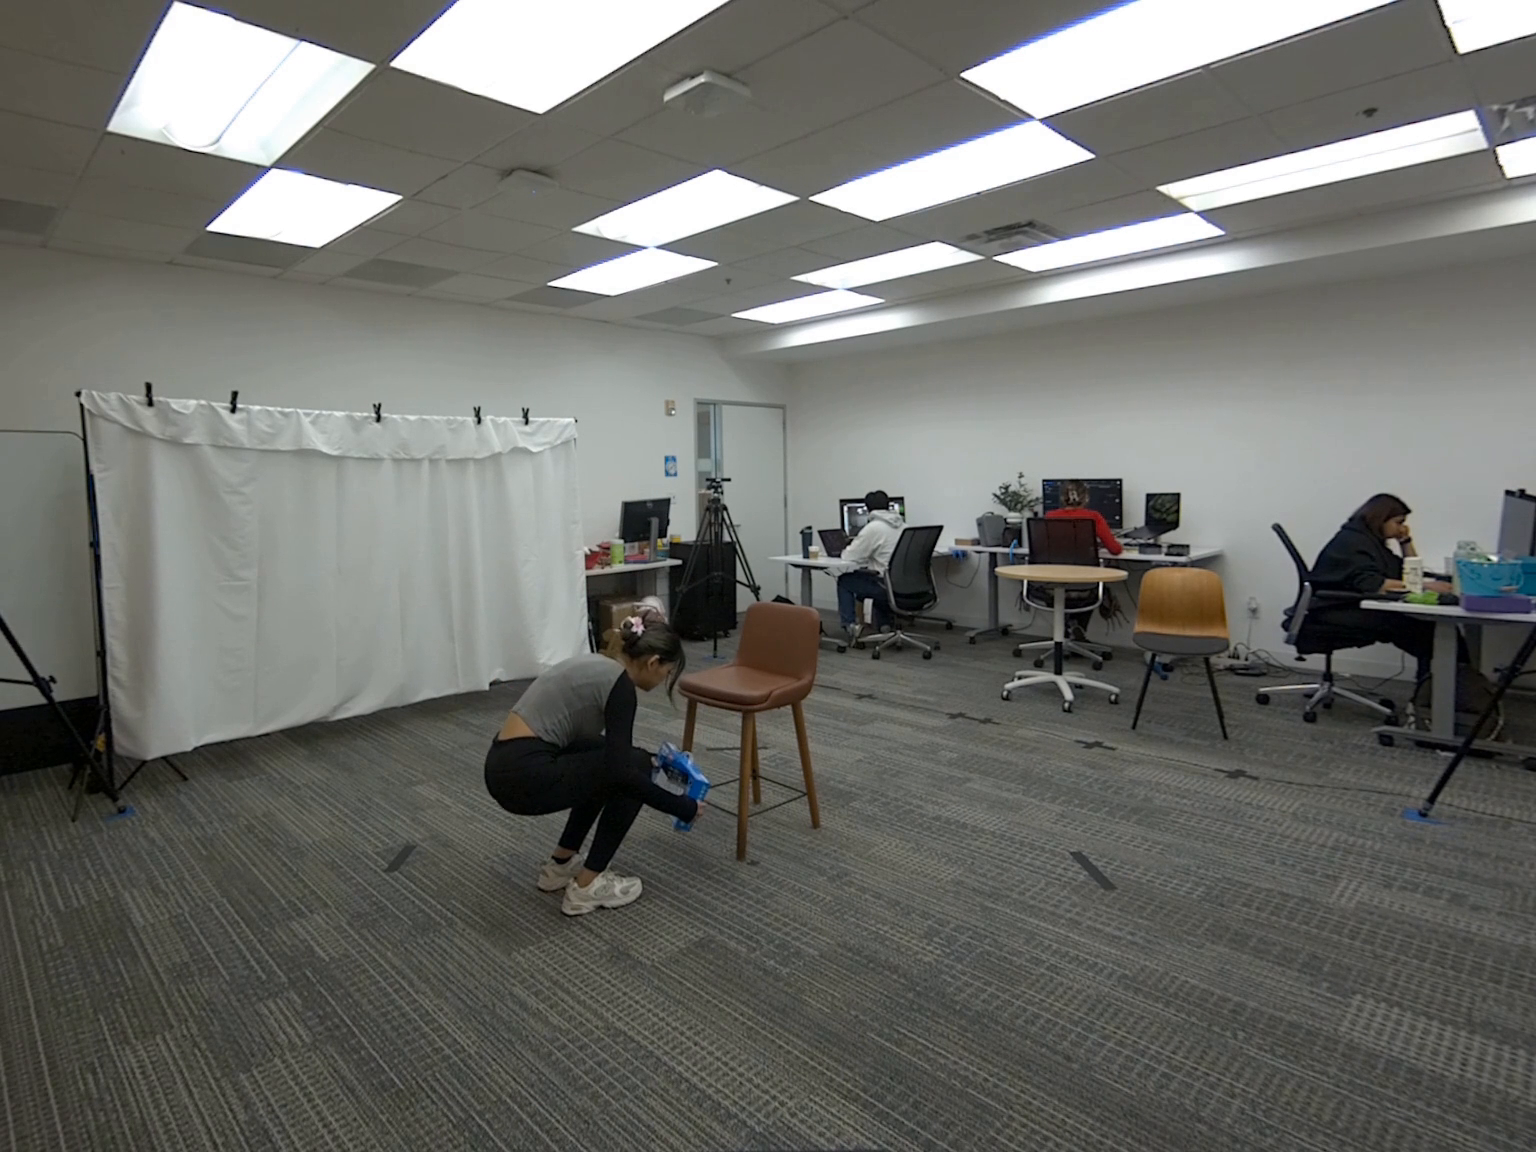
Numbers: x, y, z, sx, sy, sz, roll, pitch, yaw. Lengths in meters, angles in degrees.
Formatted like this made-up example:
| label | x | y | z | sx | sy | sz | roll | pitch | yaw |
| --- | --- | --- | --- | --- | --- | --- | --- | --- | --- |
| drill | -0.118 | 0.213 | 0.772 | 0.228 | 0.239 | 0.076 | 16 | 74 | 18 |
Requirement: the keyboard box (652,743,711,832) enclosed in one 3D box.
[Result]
| label | x | y | z | sx | sy | sz | roll | pitch | yaw |
| --- | --- | --- | --- | --- | --- | --- | --- | --- | --- |
| keyboard box | -0.337 | 0.743 | 3.028 | 0.058 | 0.176 | 0.447 | 25 | 0 | -20 |
